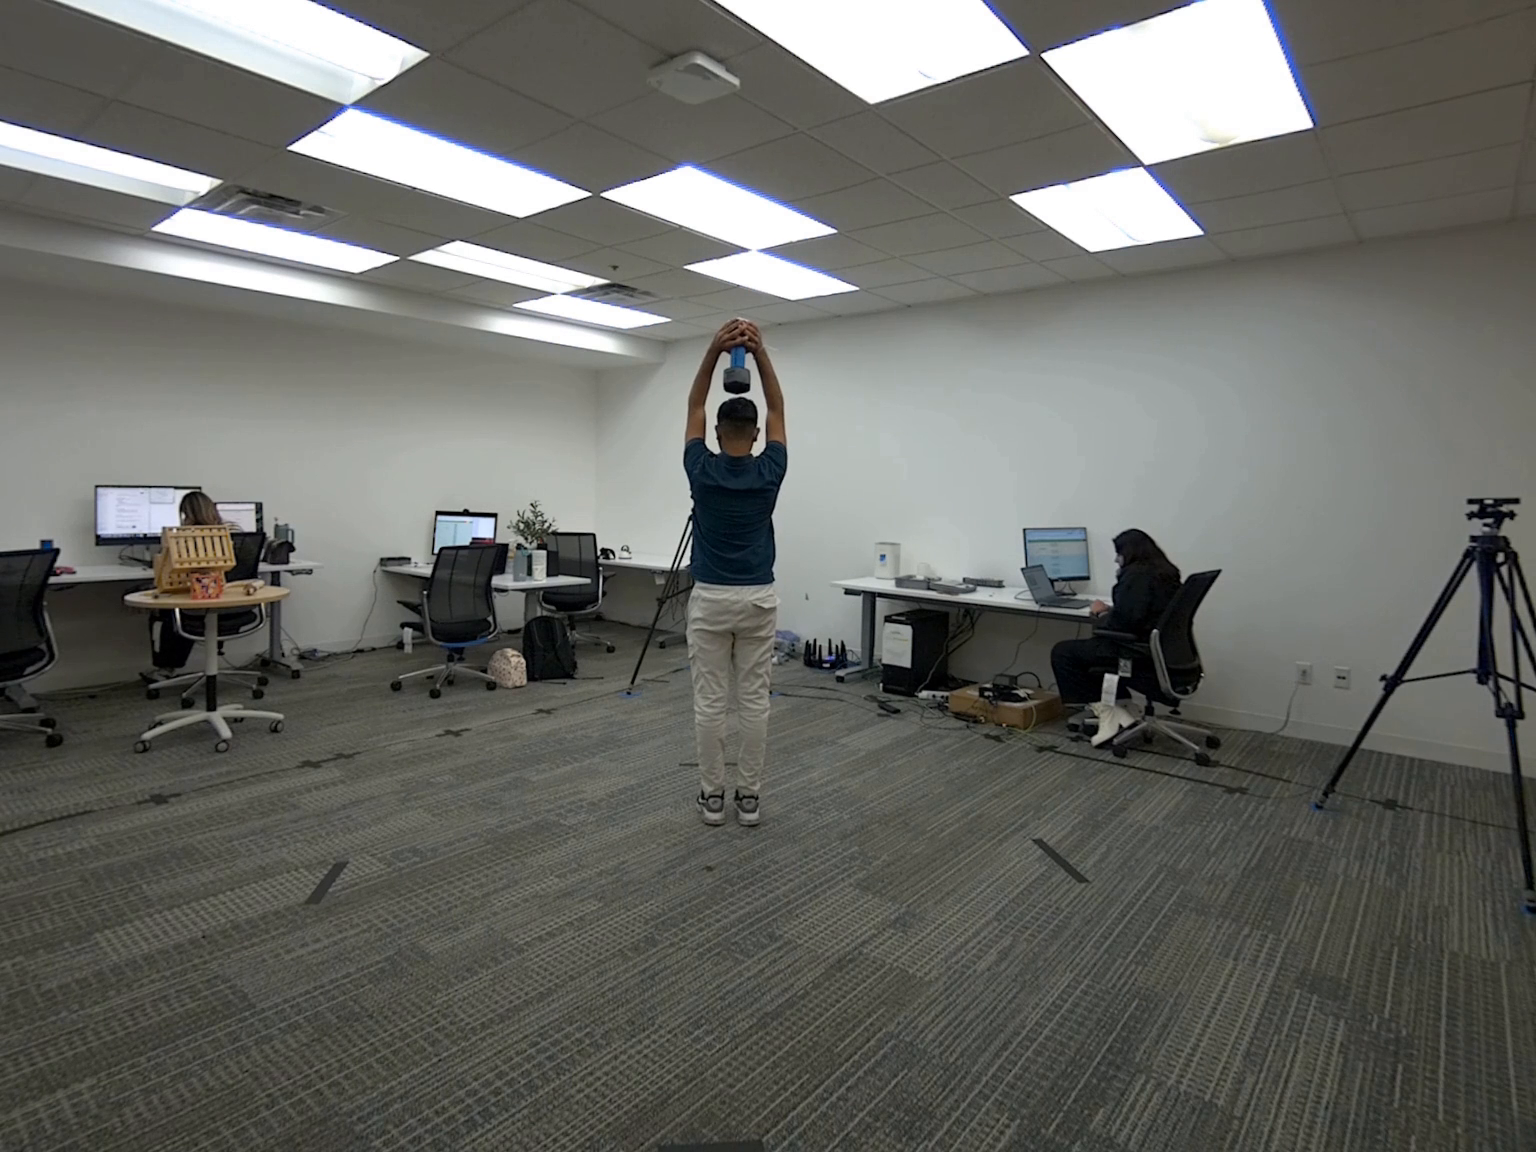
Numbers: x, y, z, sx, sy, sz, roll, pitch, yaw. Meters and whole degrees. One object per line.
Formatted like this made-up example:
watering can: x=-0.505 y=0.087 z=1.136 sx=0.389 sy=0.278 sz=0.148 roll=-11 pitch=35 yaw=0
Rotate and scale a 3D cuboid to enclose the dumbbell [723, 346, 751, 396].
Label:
dumbbell: x=-0.122 y=-0.881 z=3.438 sx=0.109 sy=0.298 sz=0.121 roll=7 pitch=-17 yaw=1
